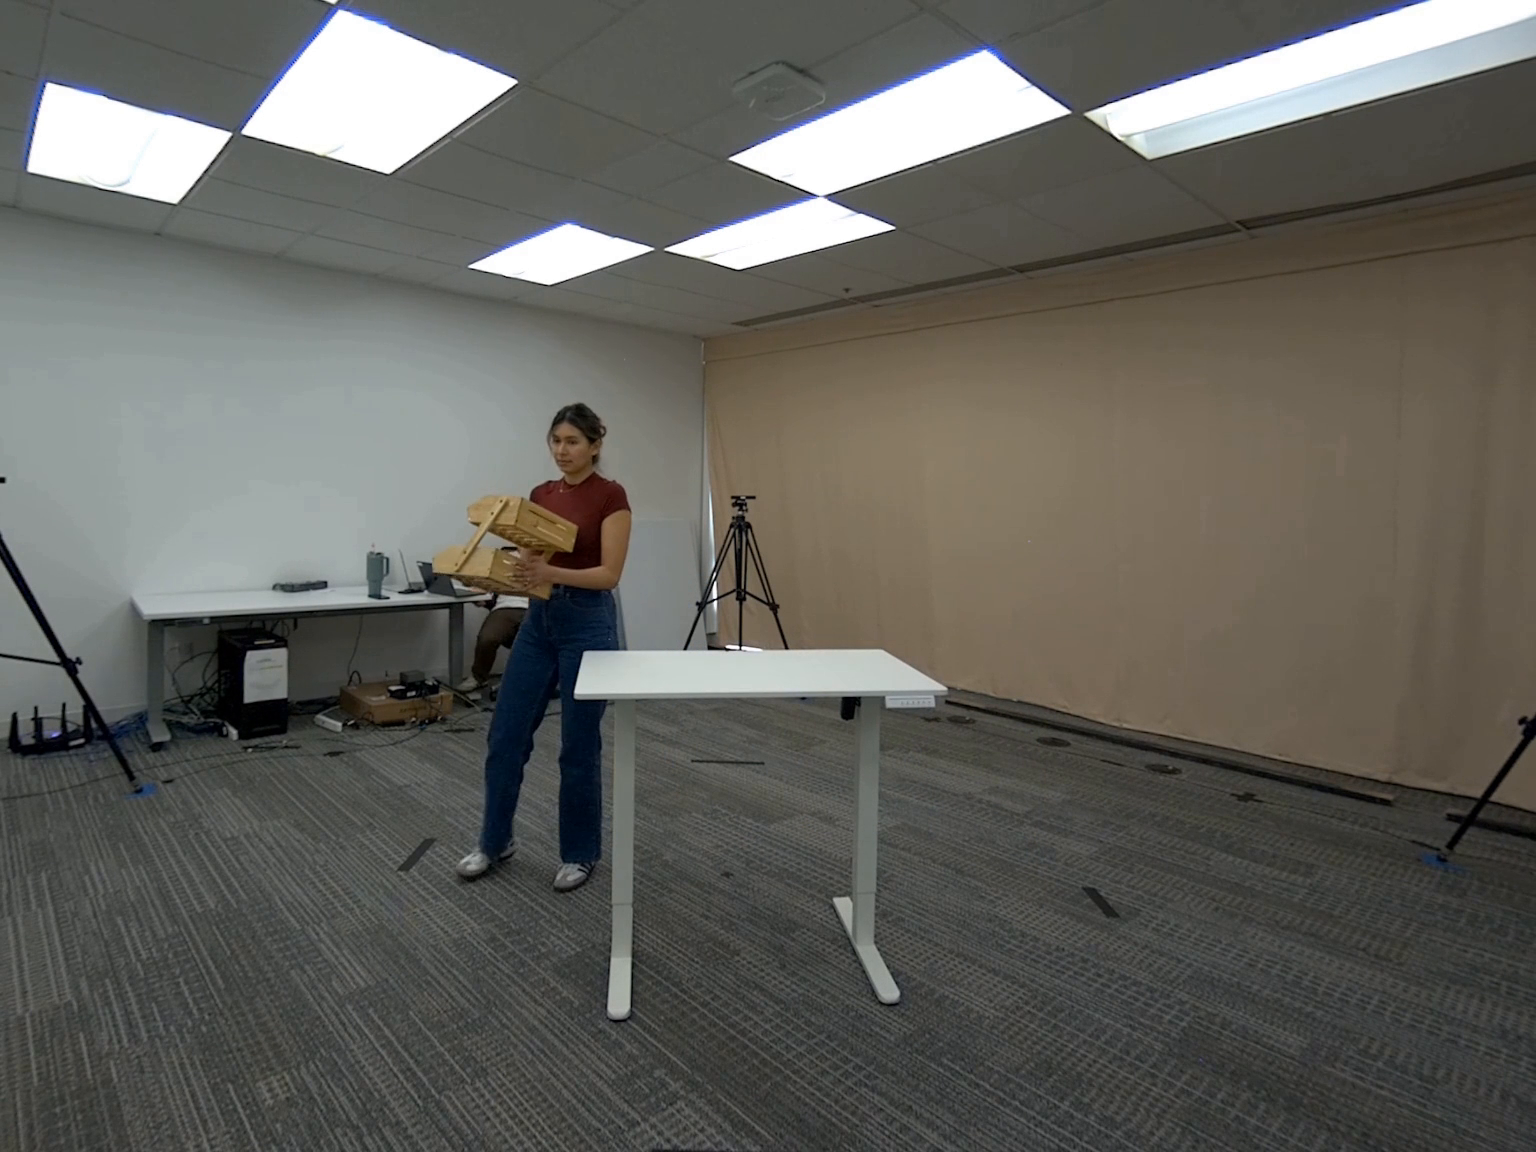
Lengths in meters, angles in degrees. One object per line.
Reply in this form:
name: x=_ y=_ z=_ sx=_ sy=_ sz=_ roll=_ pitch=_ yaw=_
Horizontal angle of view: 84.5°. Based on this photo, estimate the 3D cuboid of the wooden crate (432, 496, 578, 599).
wooden crate: x=-0.871 y=-0.095 z=2.733 sx=0.308 sy=0.275 sz=0.315 roll=5 pitch=-13 yaw=25
